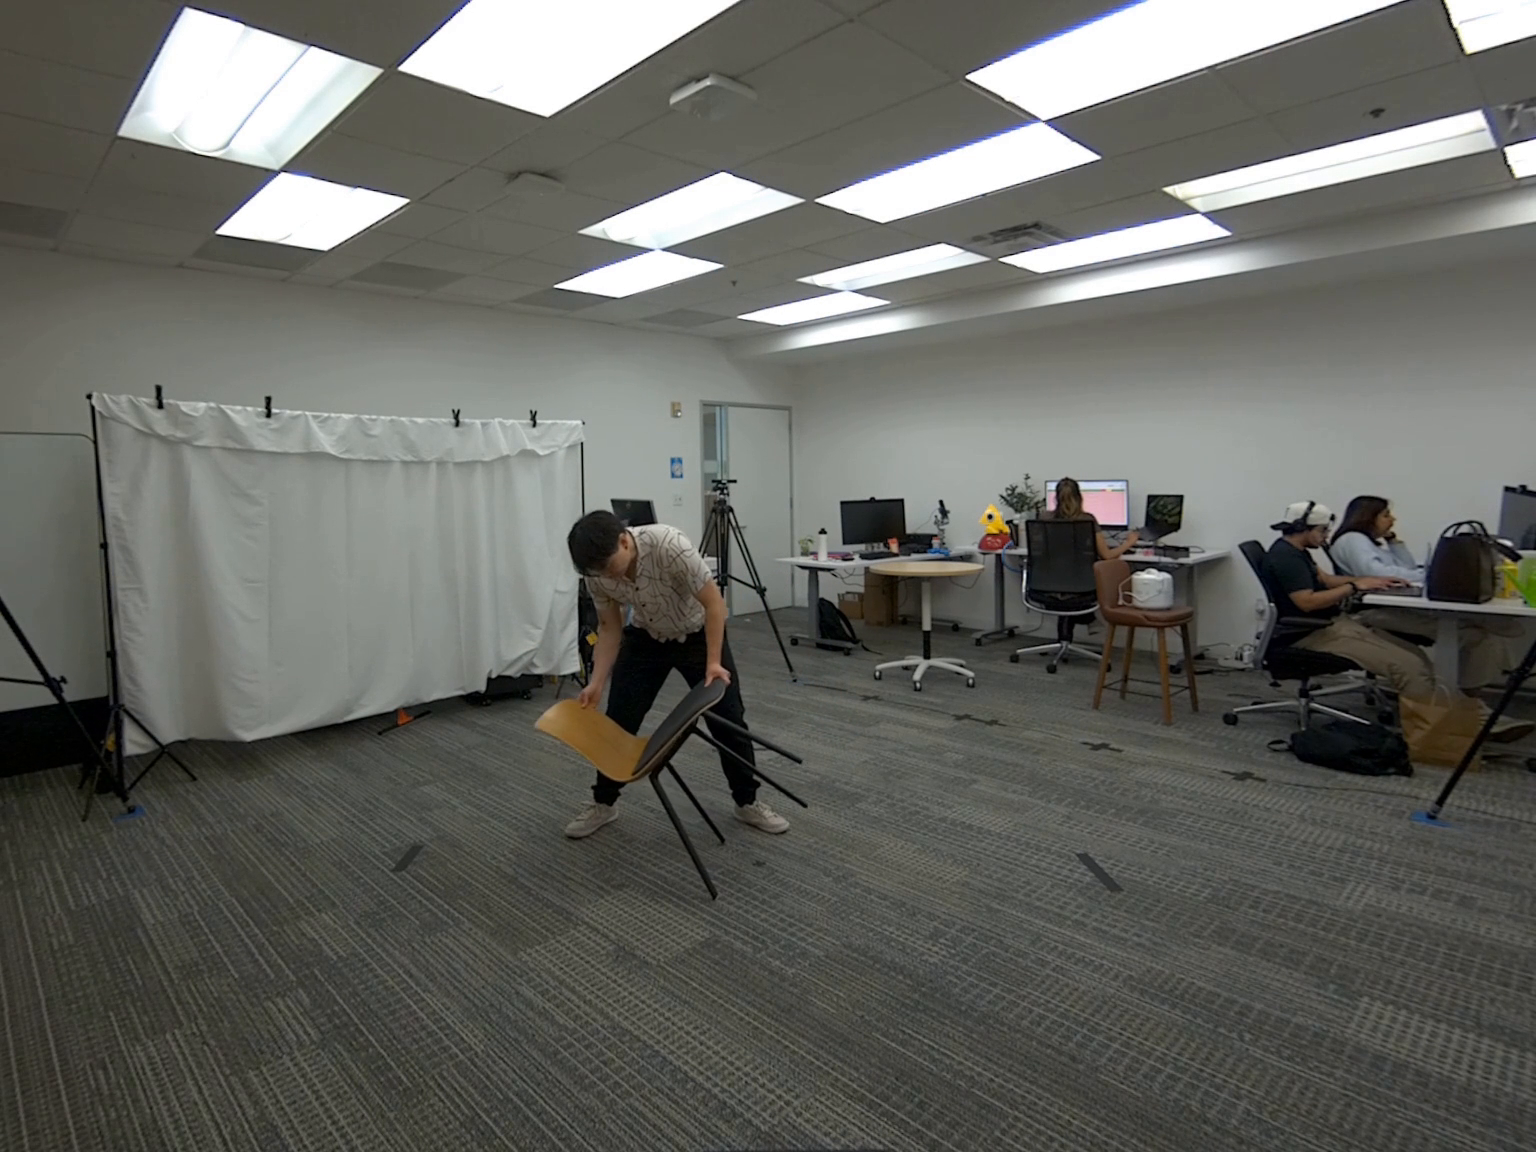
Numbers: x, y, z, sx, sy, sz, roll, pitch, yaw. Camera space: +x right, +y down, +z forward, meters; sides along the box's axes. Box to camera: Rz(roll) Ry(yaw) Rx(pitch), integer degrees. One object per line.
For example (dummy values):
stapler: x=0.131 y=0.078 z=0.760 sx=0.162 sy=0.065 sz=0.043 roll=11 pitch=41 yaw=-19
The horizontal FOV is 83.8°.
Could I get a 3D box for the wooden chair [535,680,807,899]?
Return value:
wooden chair: x=-0.332 y=0.598 z=3.055 sx=0.878 sy=0.523 sz=0.478 roll=39 pitch=5 yaw=0
